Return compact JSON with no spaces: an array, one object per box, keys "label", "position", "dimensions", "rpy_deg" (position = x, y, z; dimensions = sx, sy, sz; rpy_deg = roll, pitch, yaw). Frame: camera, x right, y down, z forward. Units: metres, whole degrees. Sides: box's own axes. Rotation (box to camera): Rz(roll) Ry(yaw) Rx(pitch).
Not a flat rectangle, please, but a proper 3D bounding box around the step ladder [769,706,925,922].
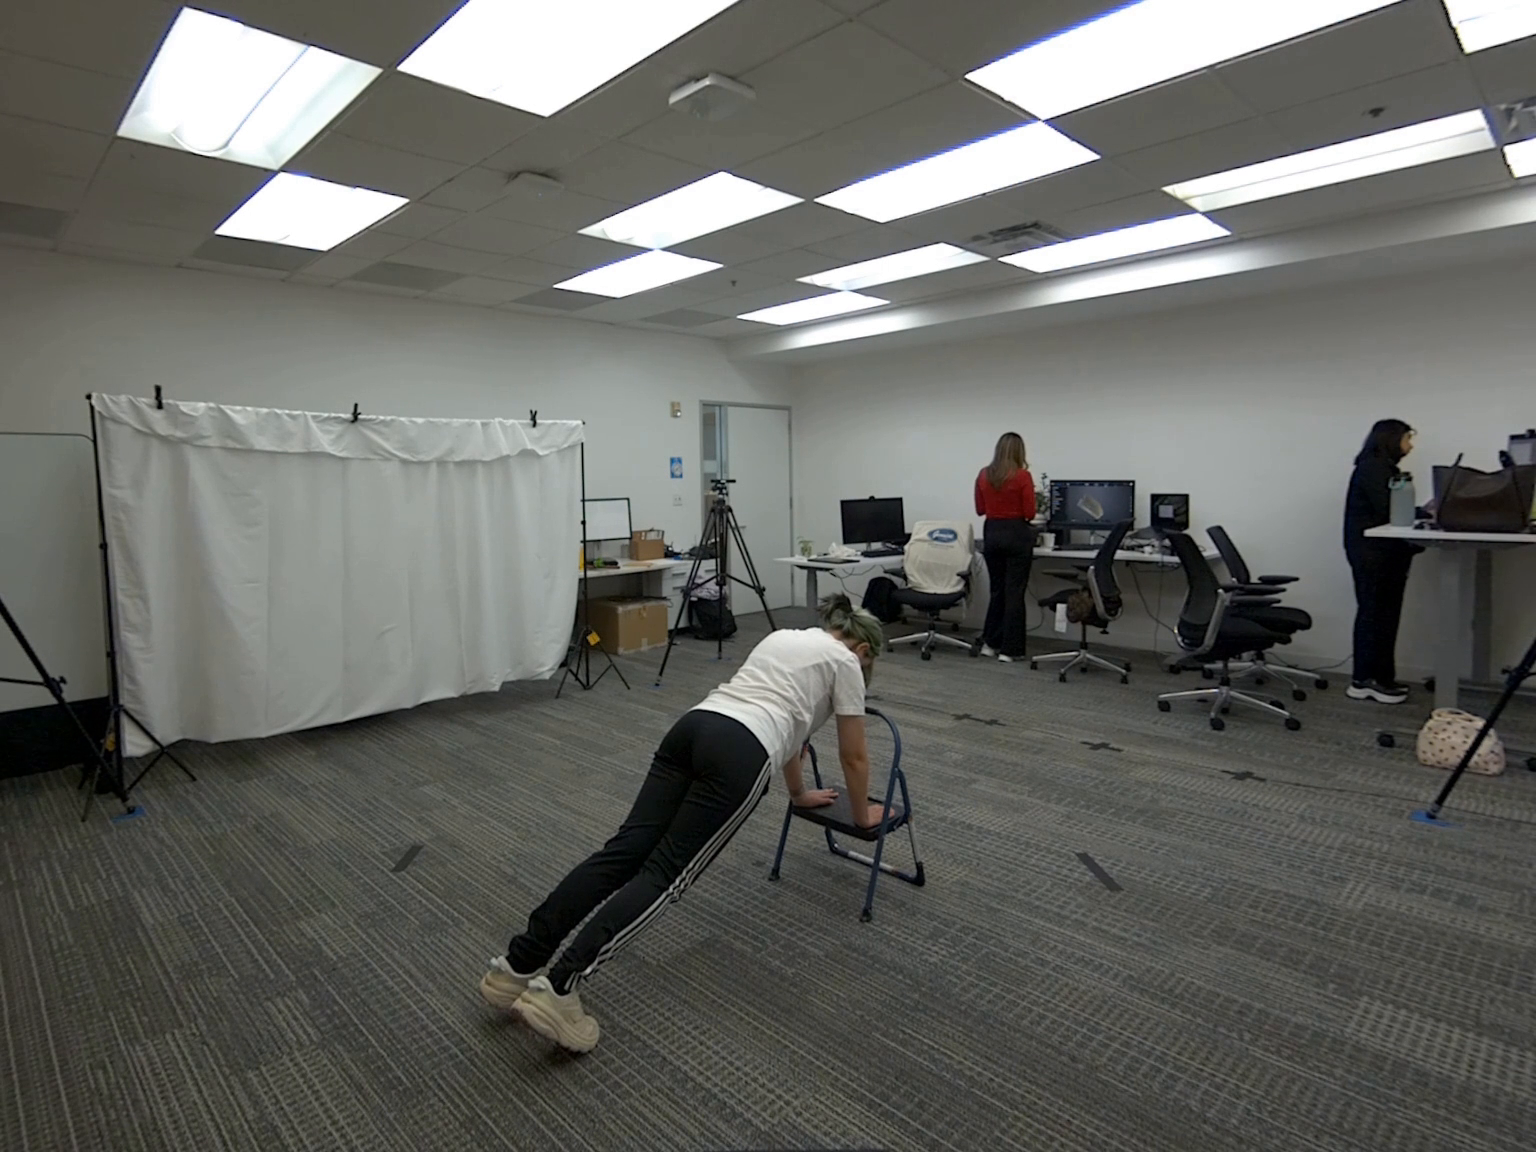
[{"label":"step ladder","position":[0.271,0.758,2.939],"dimensions":[0.444,0.604,0.340],"rpy_deg":[3,6,45]}]
